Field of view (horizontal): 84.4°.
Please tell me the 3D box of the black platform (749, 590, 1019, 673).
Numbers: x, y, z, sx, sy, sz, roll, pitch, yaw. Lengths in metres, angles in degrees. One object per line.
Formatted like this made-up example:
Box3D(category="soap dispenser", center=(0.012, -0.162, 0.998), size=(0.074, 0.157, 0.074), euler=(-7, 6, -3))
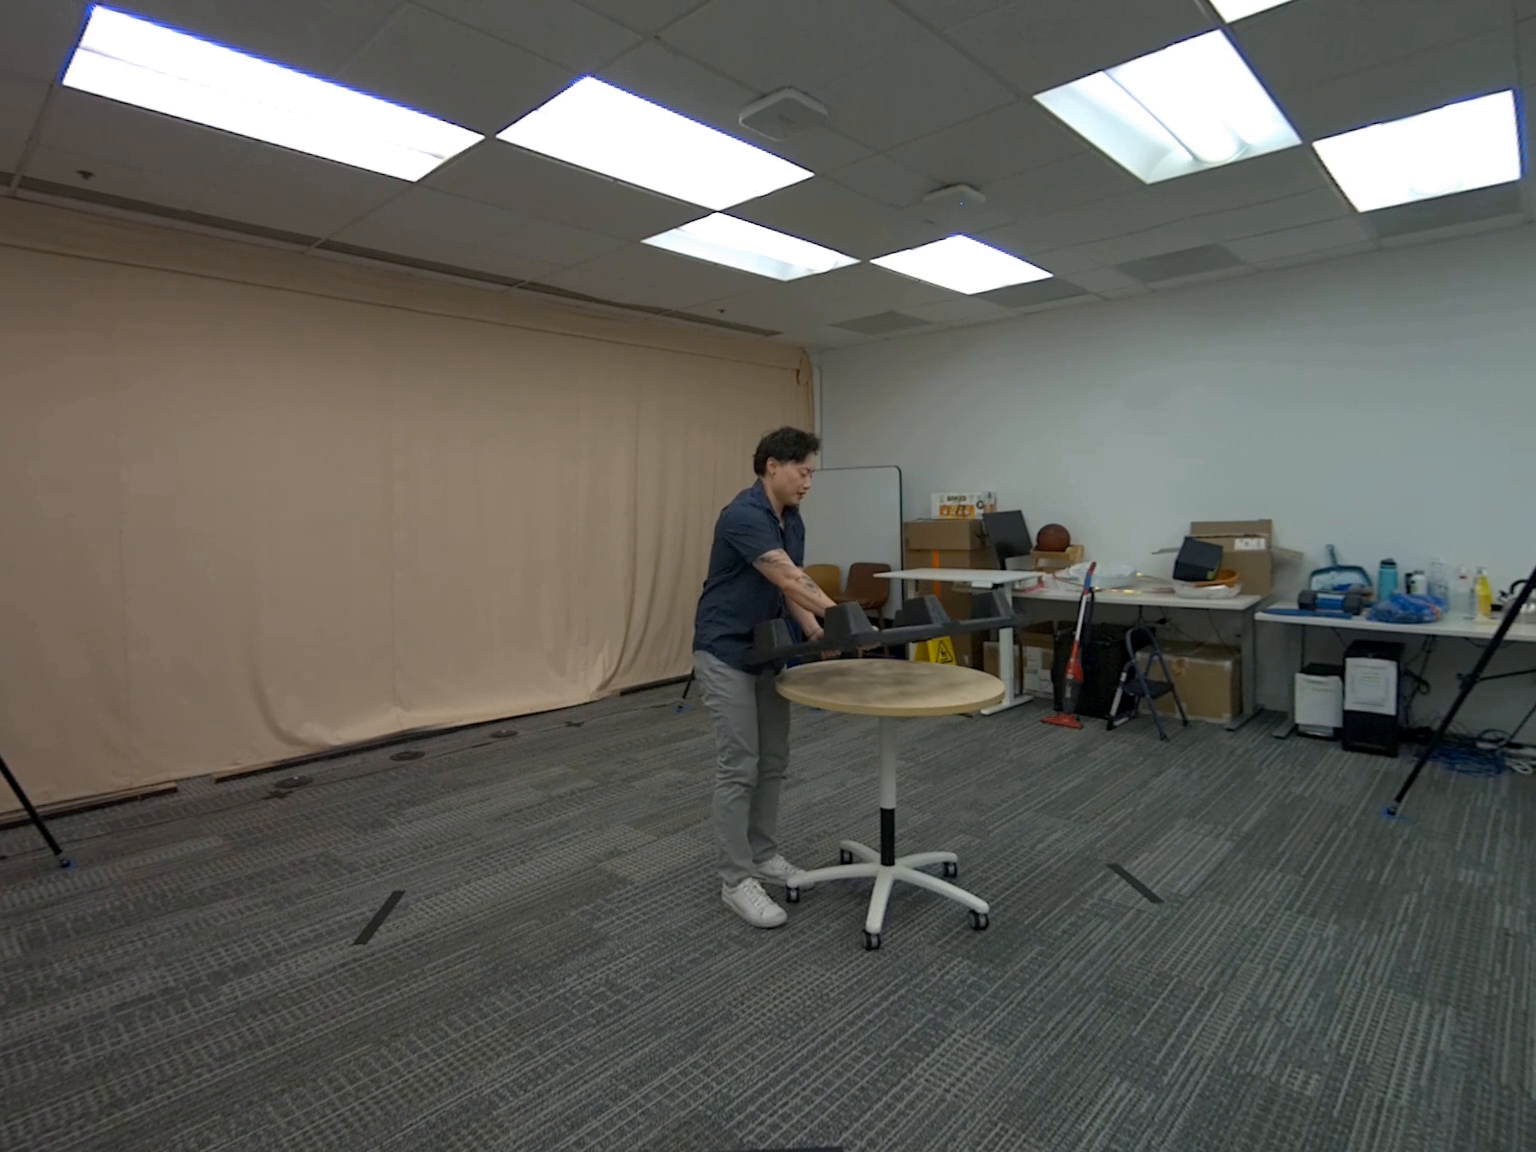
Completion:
Box3D(category="black platform", center=(0.397, 0.169, 2.868), size=(0.782, 0.144, 0.618), euler=(-4, -9, -36))
